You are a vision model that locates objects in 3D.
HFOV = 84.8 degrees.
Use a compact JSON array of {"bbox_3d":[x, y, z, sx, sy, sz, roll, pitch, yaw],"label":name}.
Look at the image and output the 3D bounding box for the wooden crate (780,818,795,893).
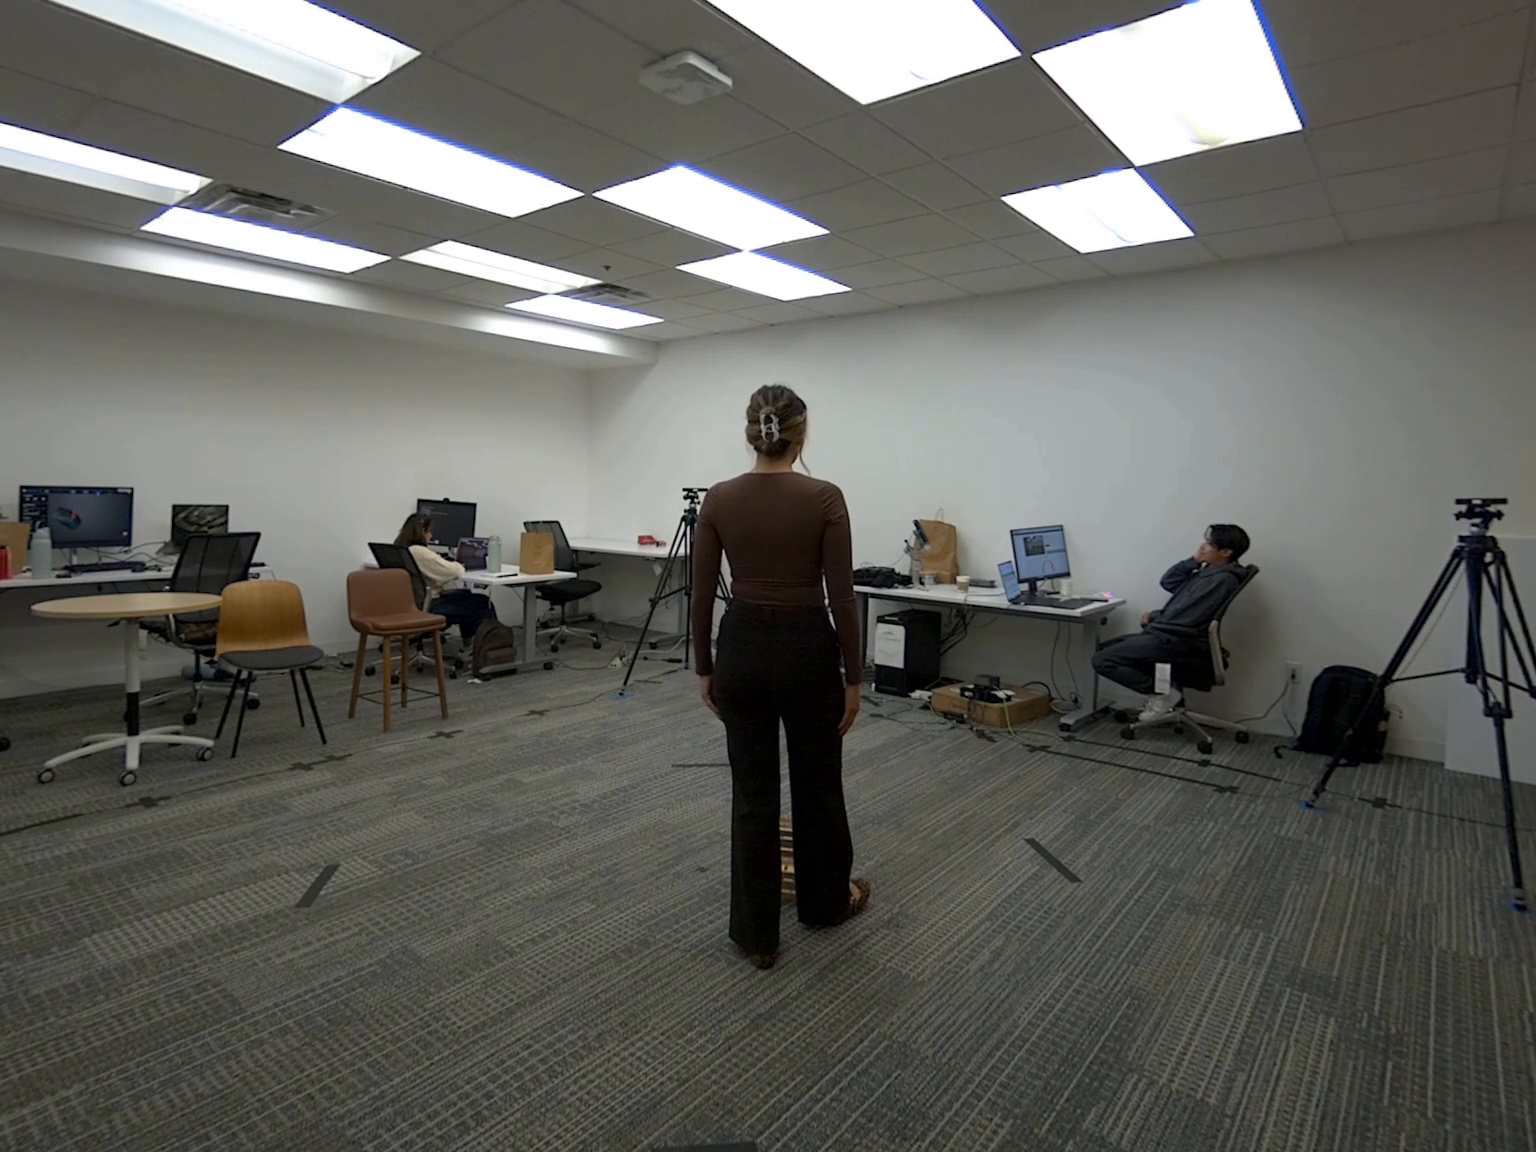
[{"bbox_3d":[0.109,0.951,2.974,0.329,0.272,0.299,2,5,11],"label":"wooden crate"}]
